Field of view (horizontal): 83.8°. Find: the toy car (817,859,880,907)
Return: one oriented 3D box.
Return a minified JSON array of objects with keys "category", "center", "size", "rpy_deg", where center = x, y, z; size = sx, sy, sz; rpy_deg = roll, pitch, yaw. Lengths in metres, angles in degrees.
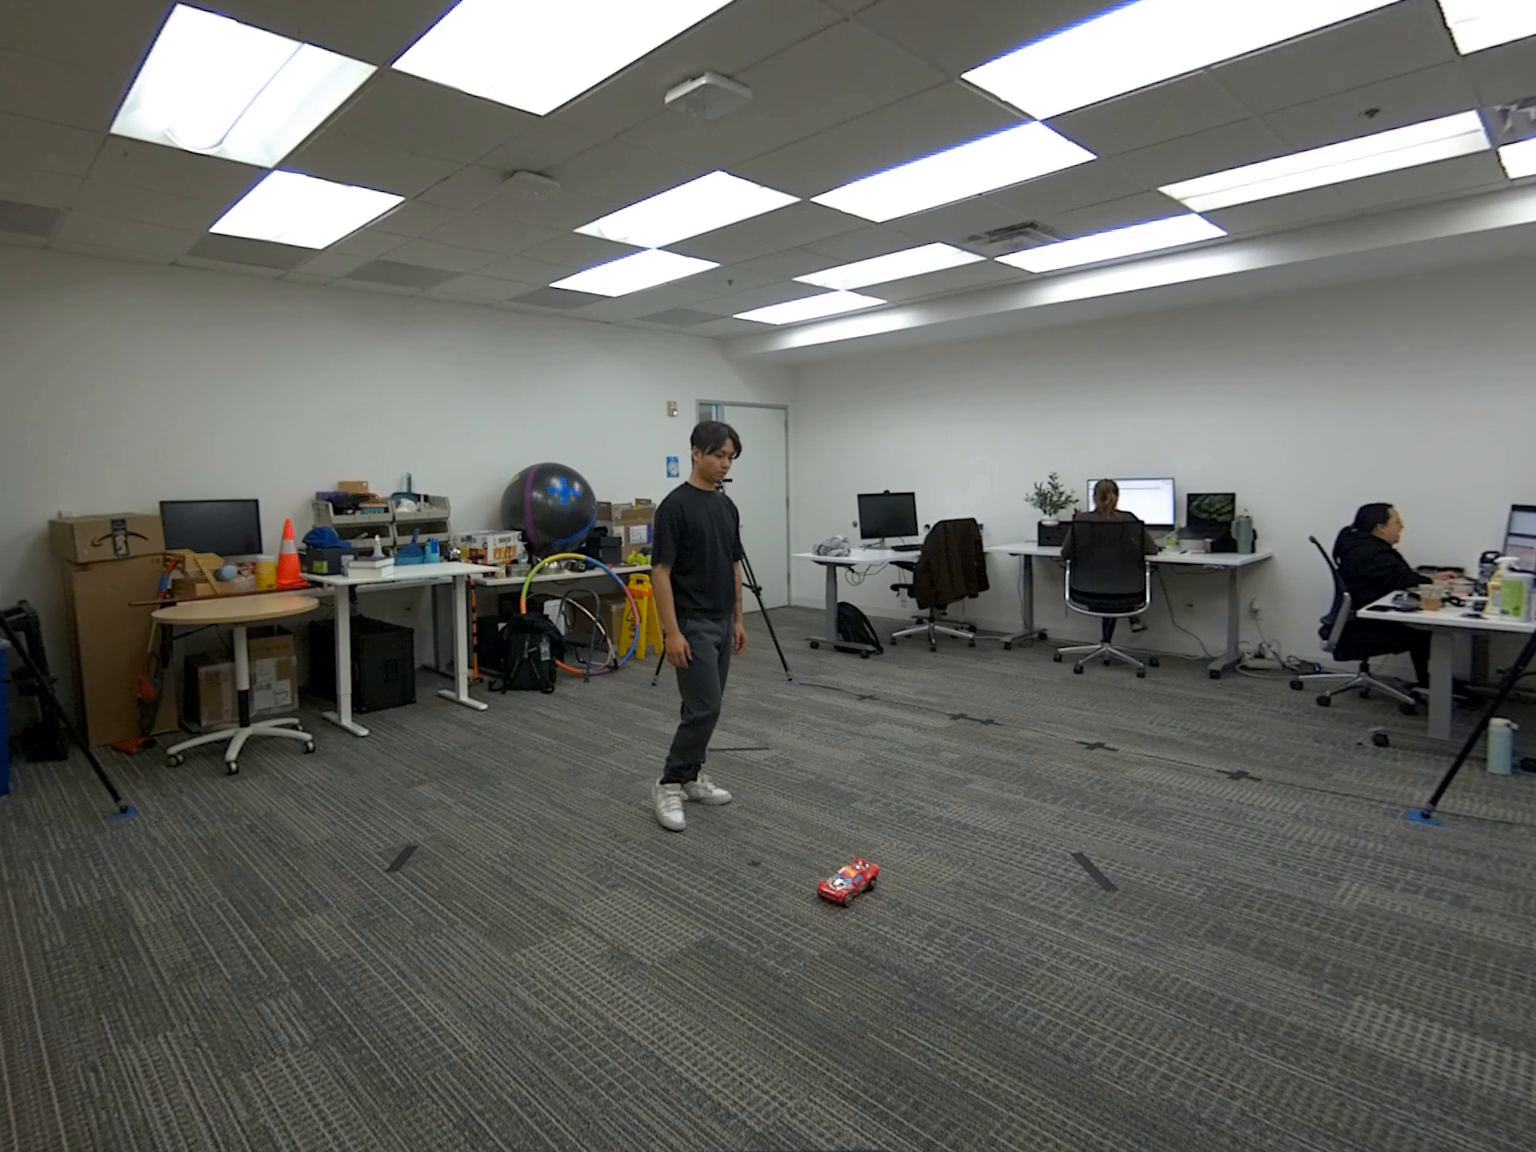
[{"category":"toy car","center":[0.283,1.033,2.885],"size":[0.134,0.082,0.250],"rpy_deg":[3,18,41]}]
